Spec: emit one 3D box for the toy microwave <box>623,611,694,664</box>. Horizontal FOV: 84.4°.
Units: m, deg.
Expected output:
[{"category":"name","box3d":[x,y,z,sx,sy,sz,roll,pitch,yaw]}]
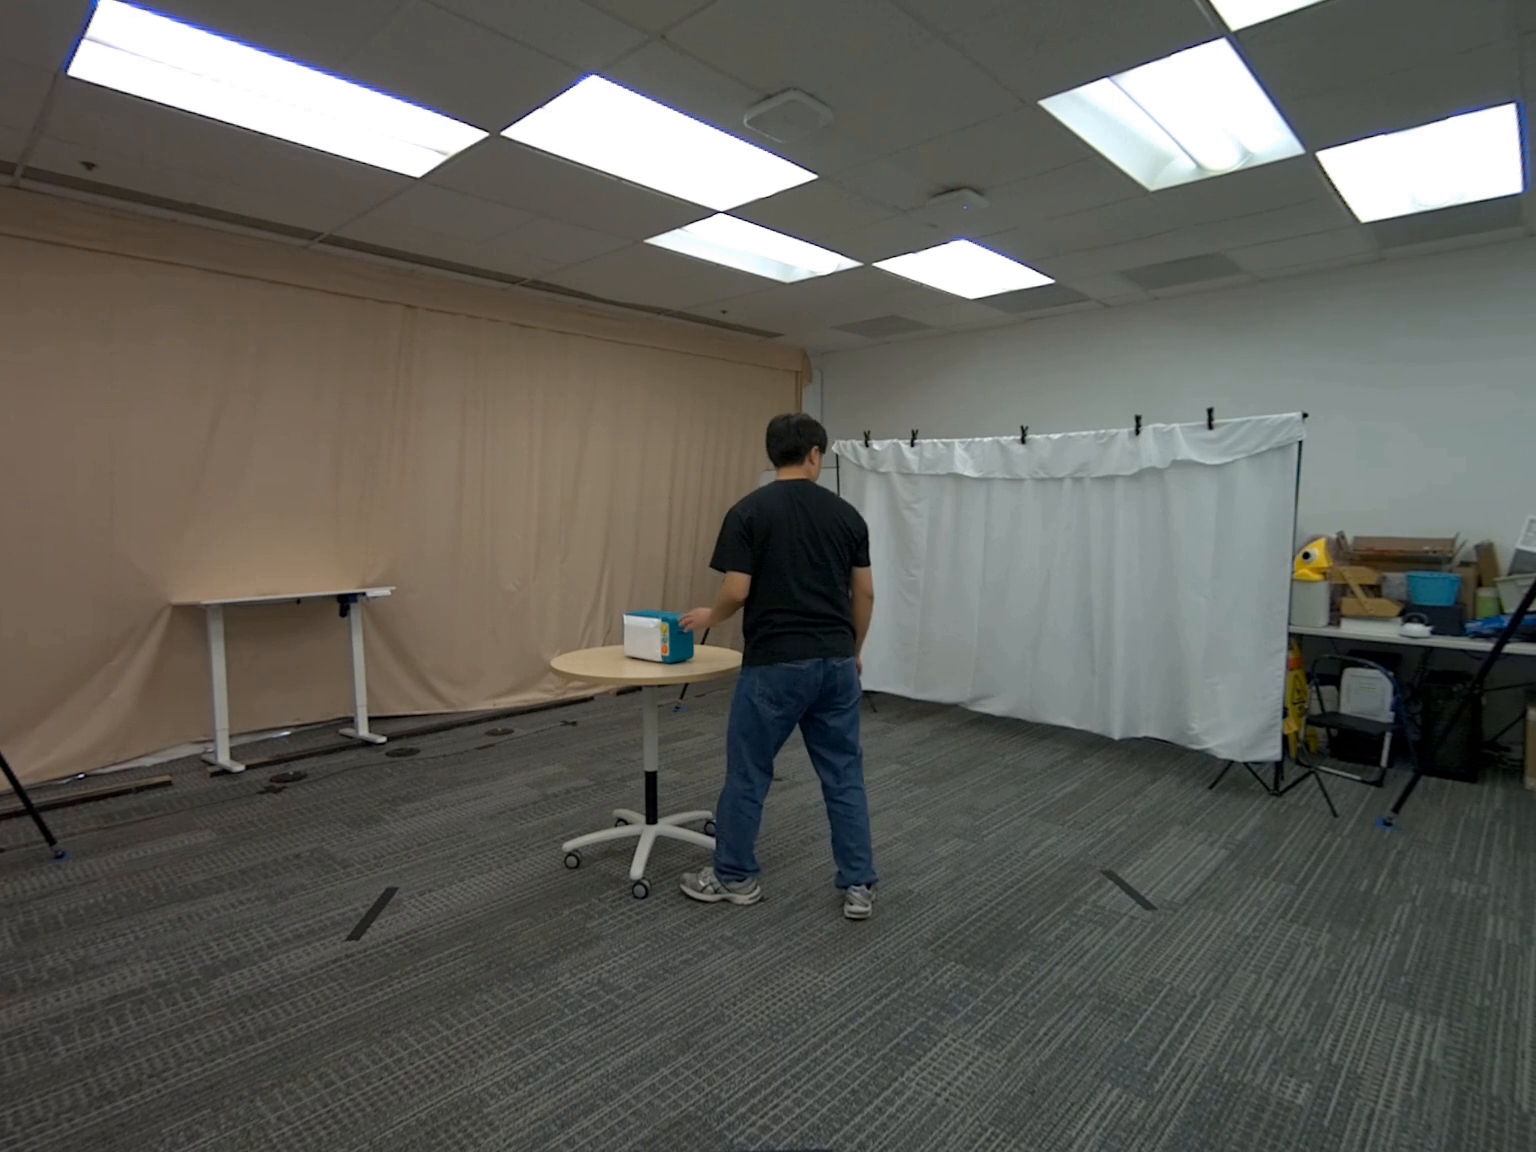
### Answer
[{"category":"toy microwave","box3d":[-0.436,0.234,3.286,0.295,0.184,0.148,3,5,41]}]
